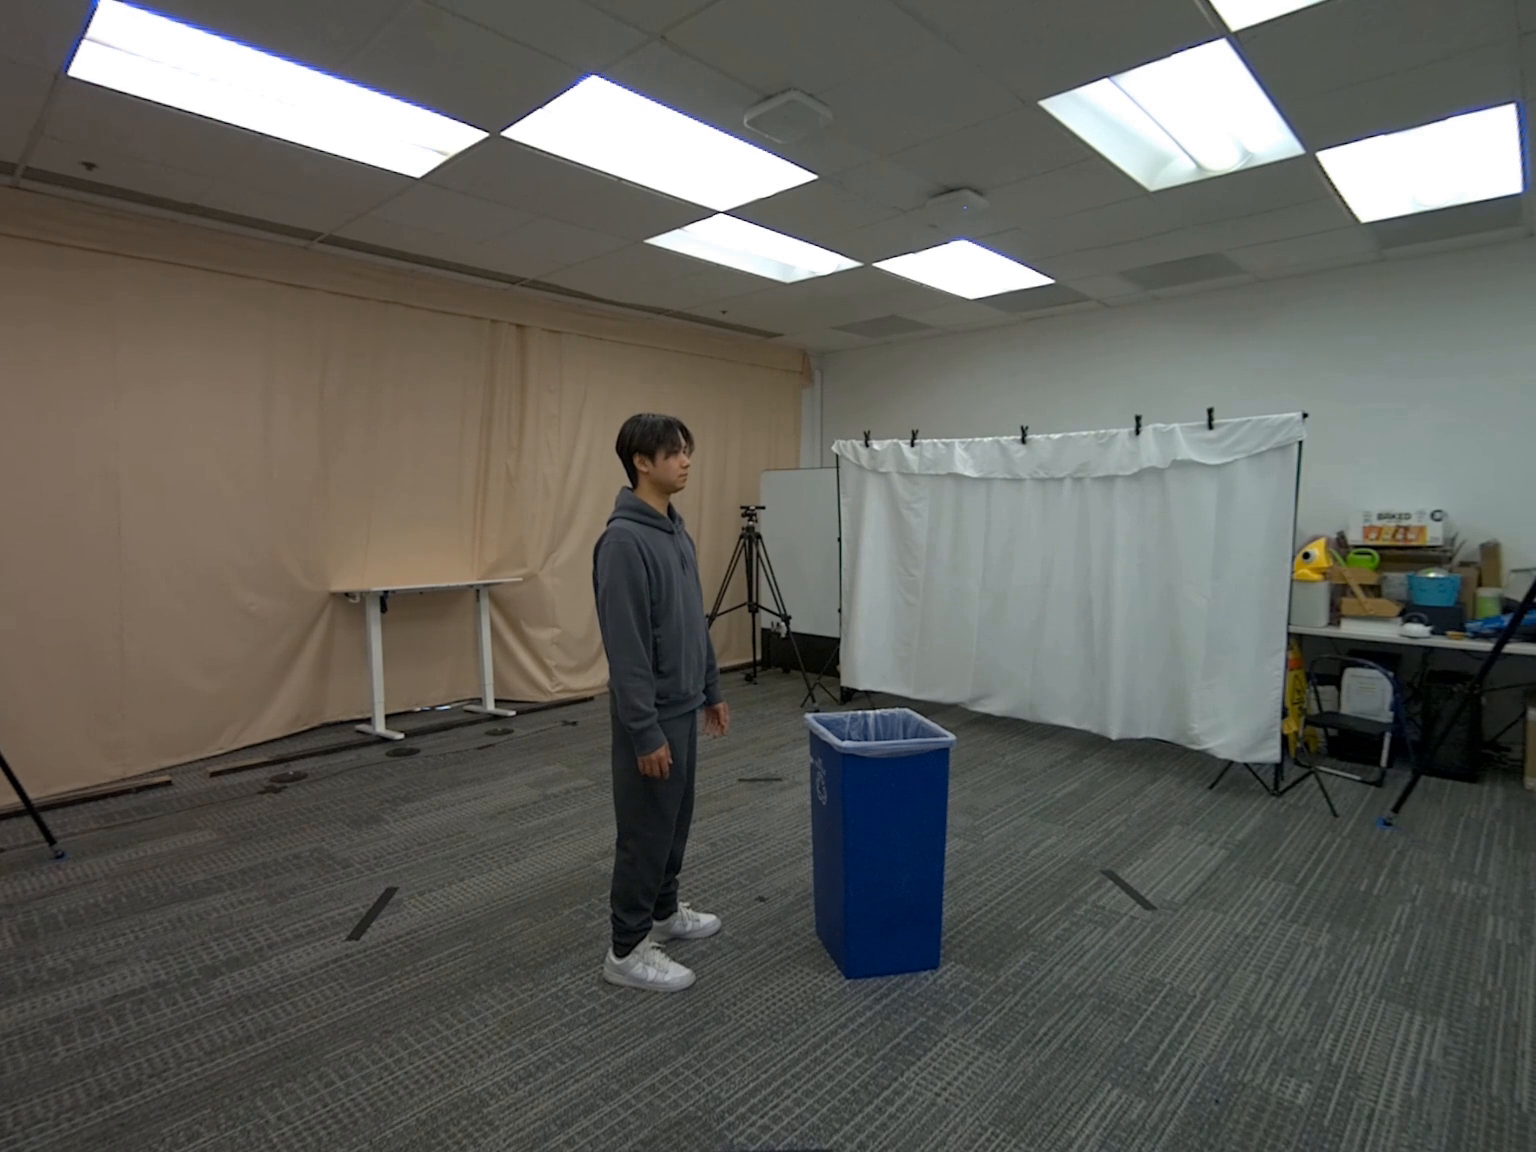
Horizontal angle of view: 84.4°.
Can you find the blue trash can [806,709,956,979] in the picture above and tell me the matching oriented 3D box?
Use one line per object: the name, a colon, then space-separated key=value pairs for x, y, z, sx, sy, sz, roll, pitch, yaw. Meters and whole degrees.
blue trash can: x=0.345 y=0.816 z=2.618 sx=0.373 sy=0.712 sz=0.380 roll=-1 pitch=3 yaw=-13
